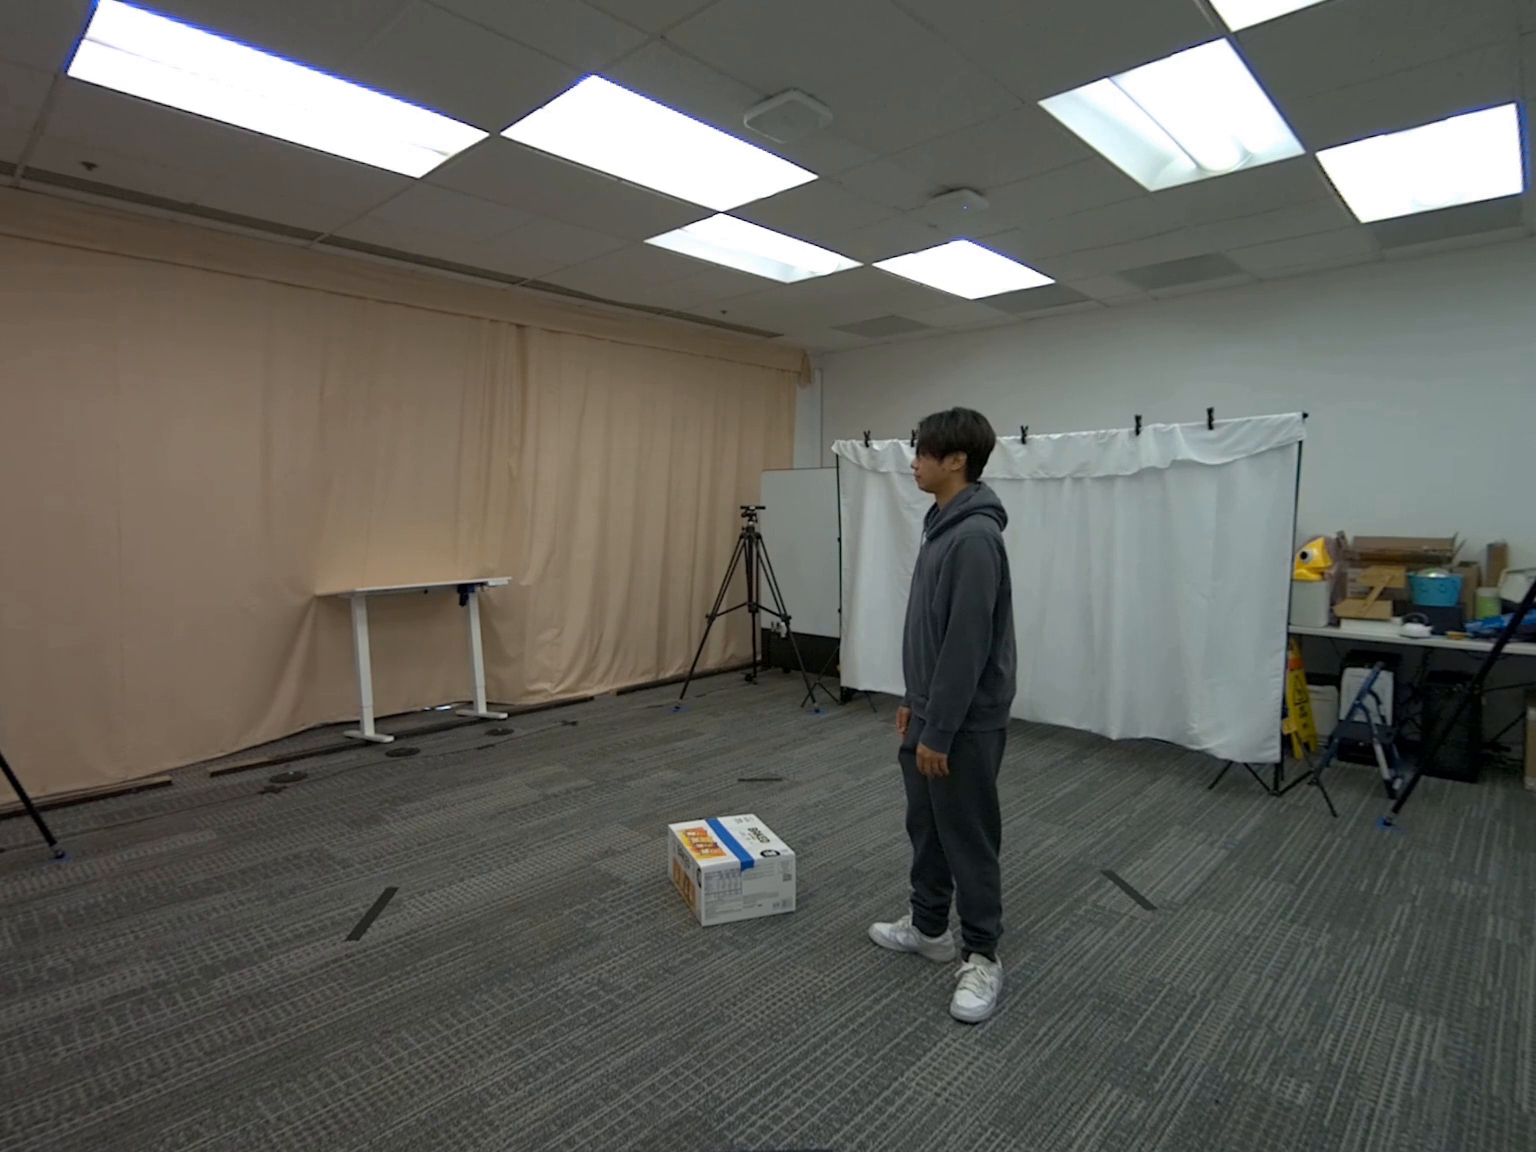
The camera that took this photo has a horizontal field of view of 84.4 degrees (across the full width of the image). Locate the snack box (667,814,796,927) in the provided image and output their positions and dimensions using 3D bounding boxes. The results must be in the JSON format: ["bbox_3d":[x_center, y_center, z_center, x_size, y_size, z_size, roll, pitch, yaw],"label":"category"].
[{"bbox_3d":[-0.136,1.040,3.013,0.333,0.205,0.414,-2,4,-21],"label":"snack box"}]
